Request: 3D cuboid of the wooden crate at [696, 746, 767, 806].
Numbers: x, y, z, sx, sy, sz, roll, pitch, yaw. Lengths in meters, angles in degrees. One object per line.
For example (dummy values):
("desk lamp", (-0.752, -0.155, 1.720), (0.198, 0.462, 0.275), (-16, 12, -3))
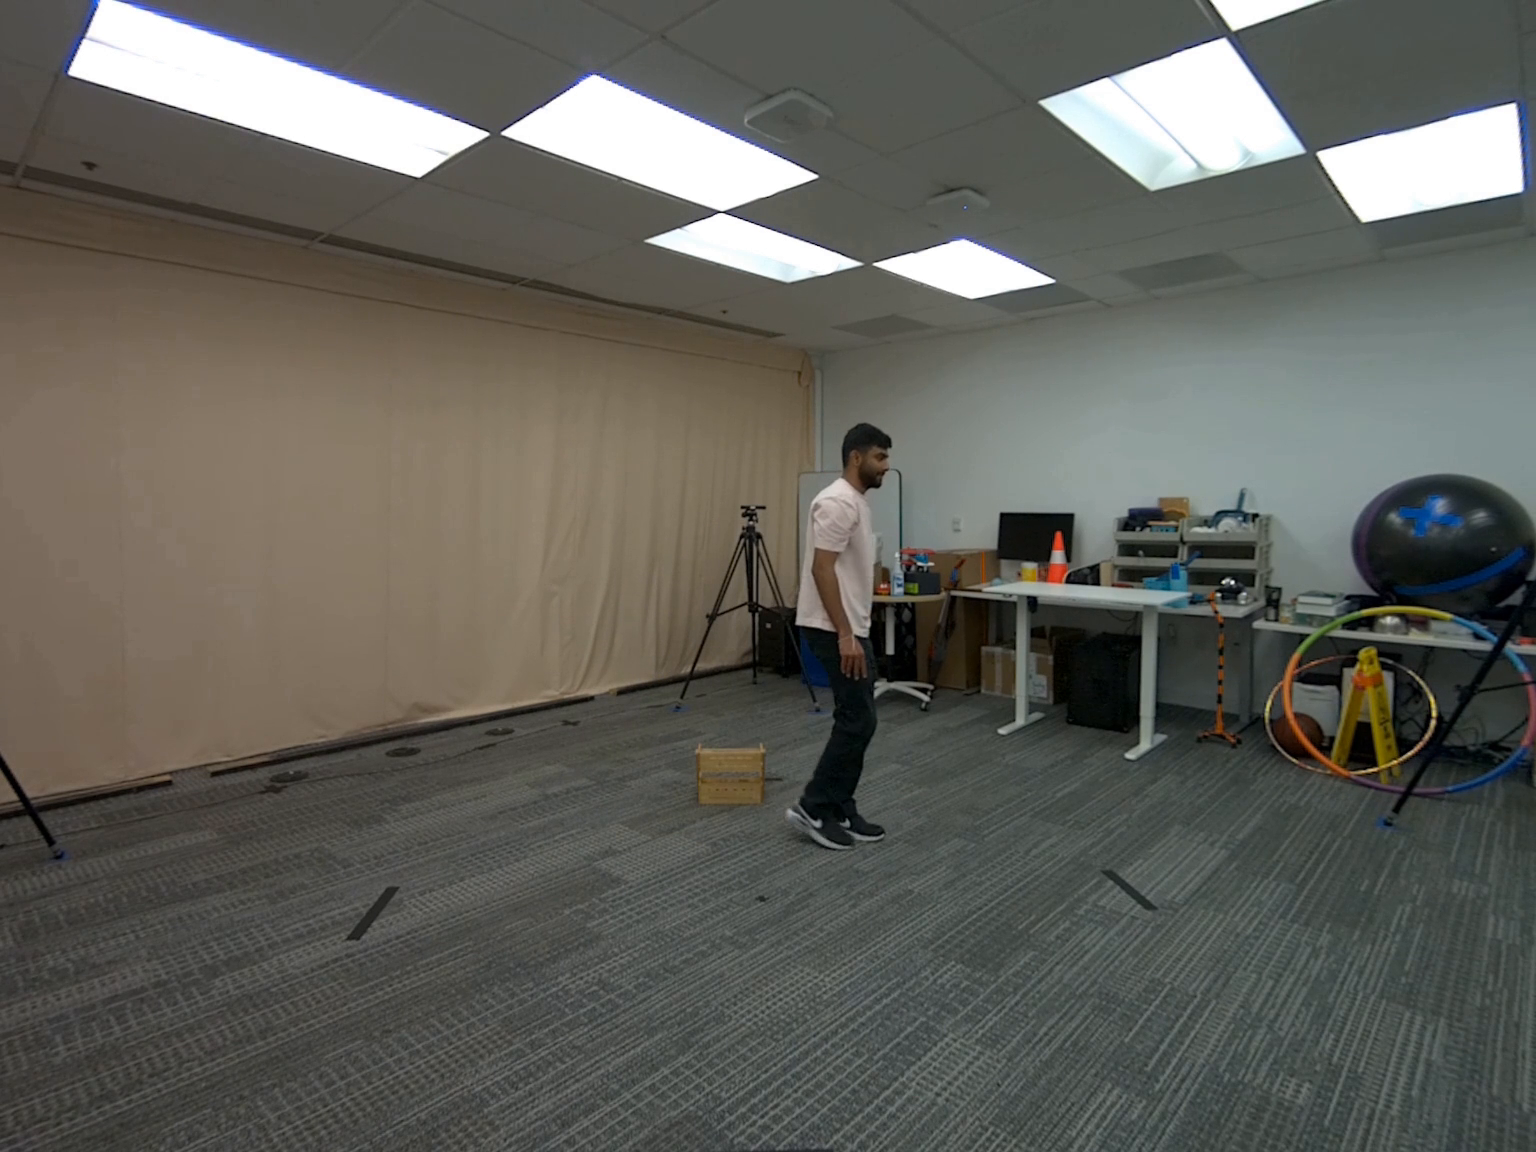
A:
("wooden crate", (-0.184, 0.927, 4.044), (0.324, 0.273, 0.303), (-1, 4, -2))
